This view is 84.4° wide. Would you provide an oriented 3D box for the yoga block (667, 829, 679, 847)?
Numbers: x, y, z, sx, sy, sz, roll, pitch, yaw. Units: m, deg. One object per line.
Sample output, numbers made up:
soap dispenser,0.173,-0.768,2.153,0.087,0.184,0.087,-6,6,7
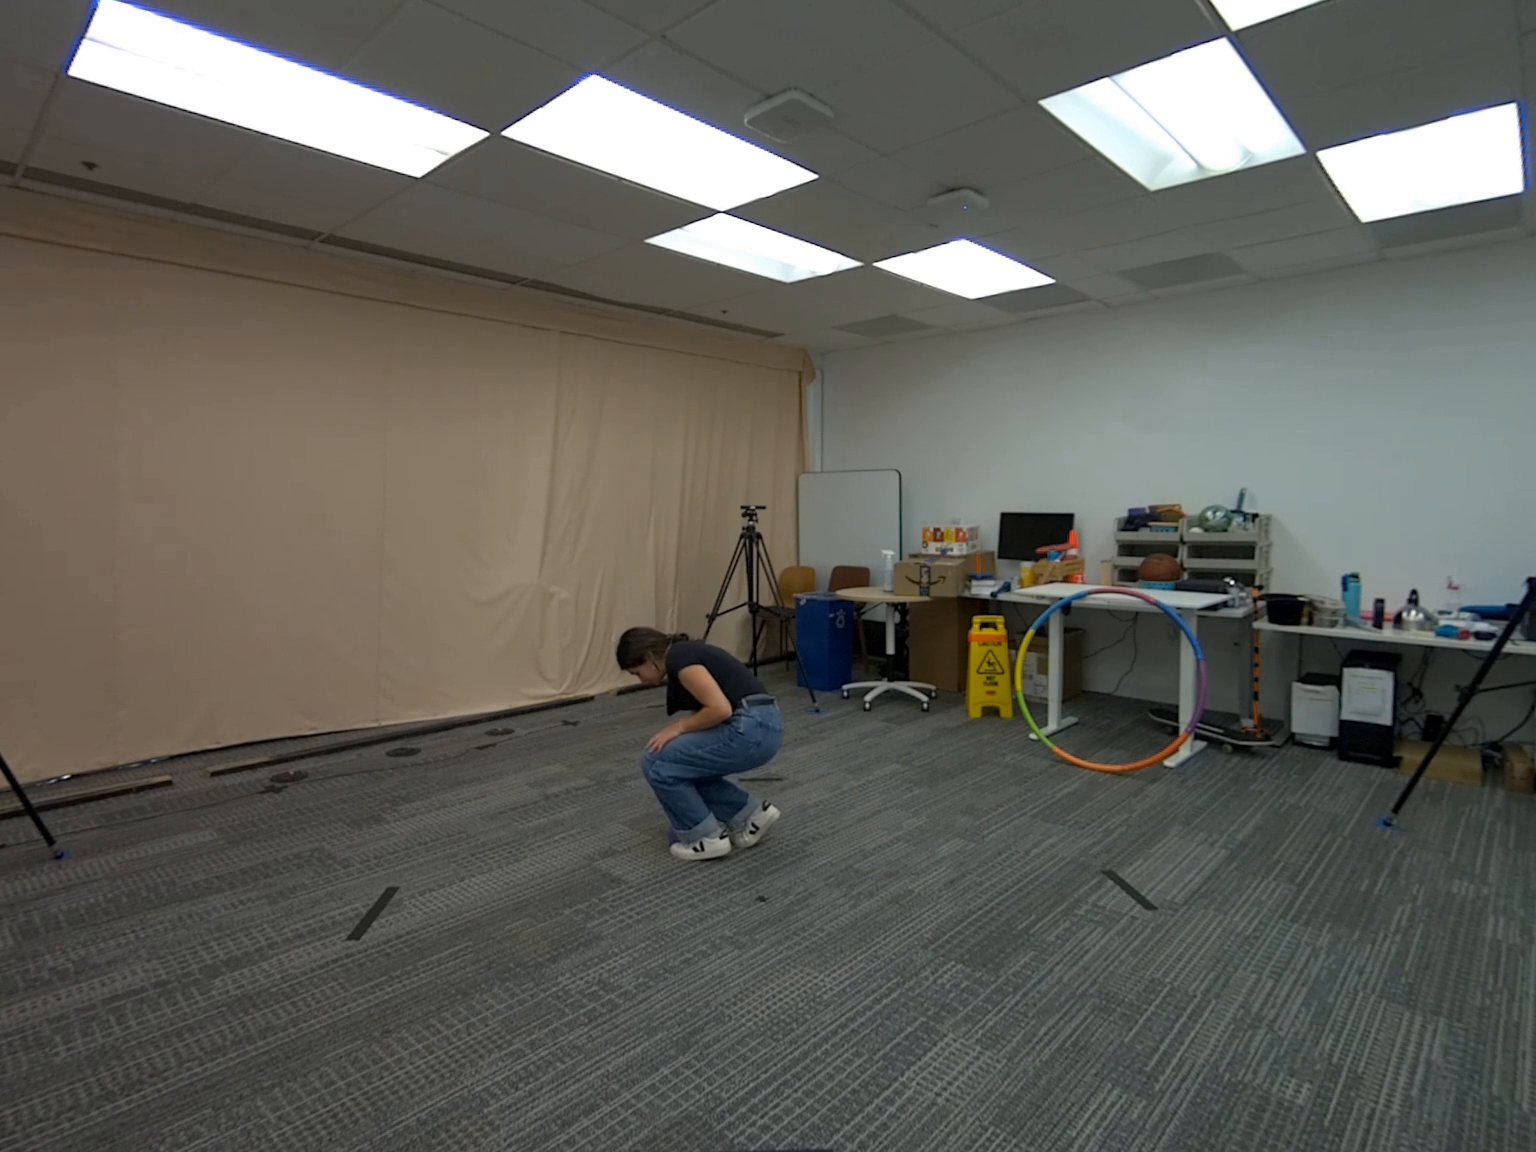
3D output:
yoga block,-0.310,1.043,3.519,0.151,0.076,0.227,-3,7,13
